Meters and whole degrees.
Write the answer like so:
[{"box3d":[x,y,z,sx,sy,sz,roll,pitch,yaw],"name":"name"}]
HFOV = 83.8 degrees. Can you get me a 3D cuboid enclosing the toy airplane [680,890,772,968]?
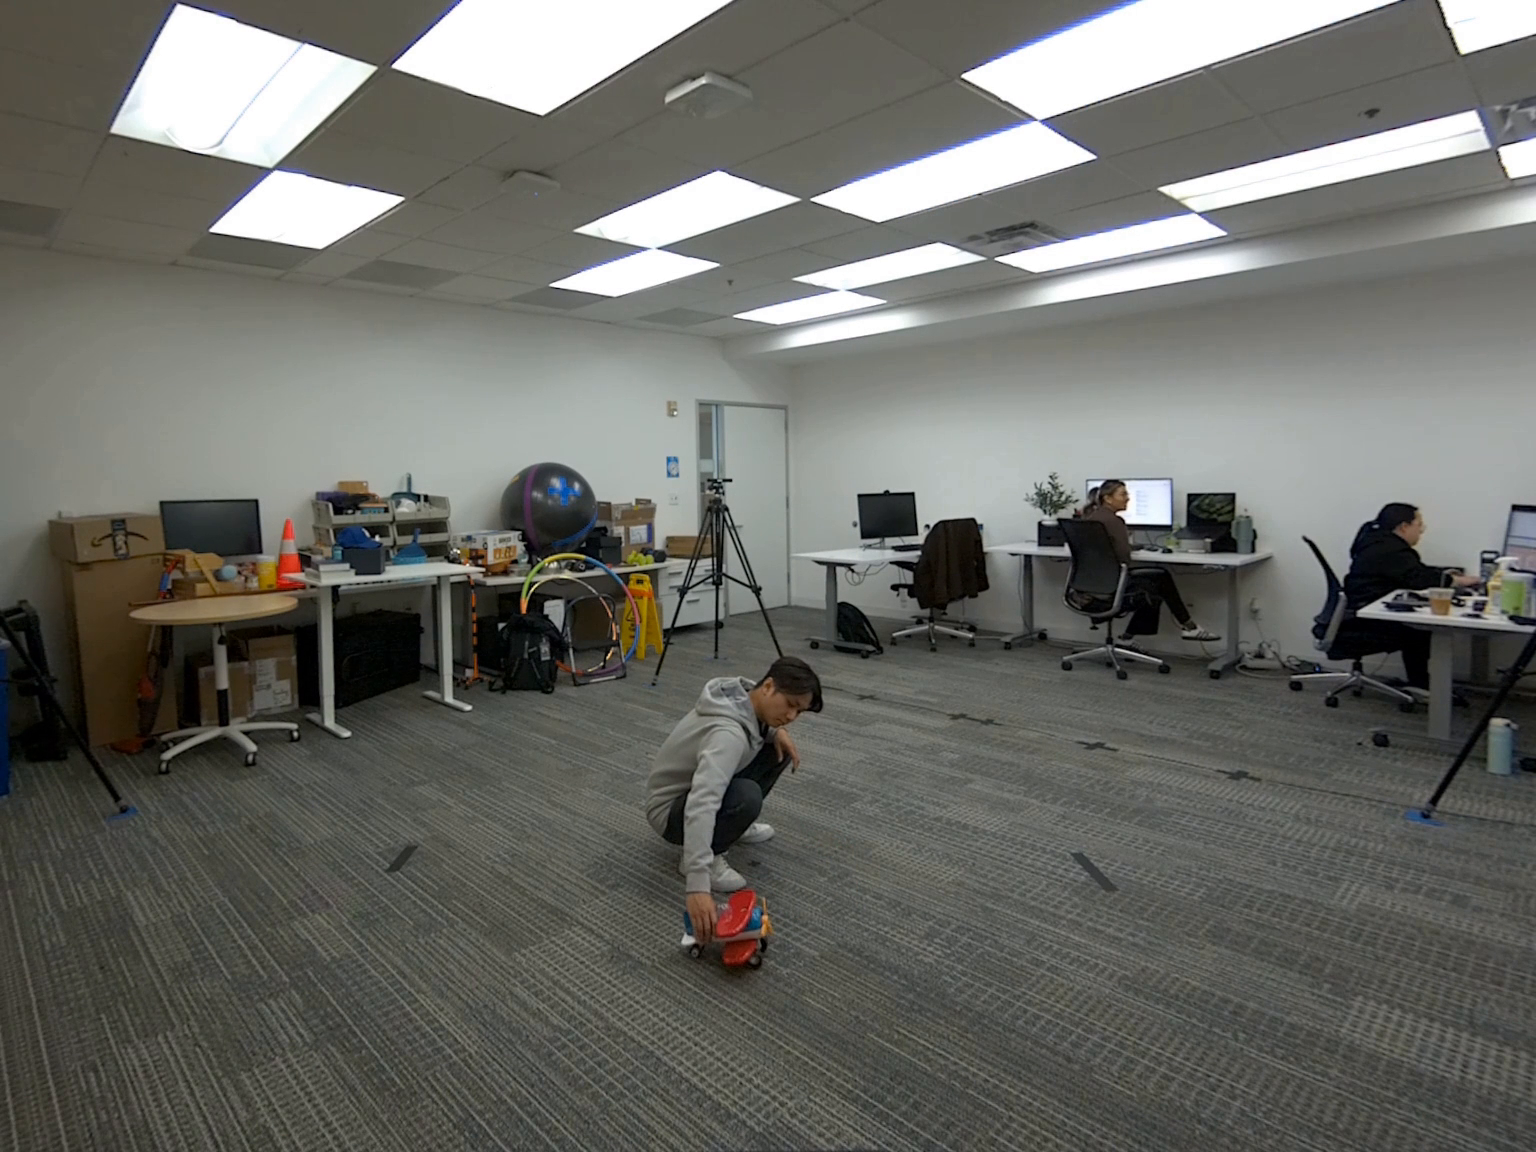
[{"box3d":[-0.121,1.053,2.481,0.255,0.156,0.256,-3,6,-17],"name":"toy airplane"}]
